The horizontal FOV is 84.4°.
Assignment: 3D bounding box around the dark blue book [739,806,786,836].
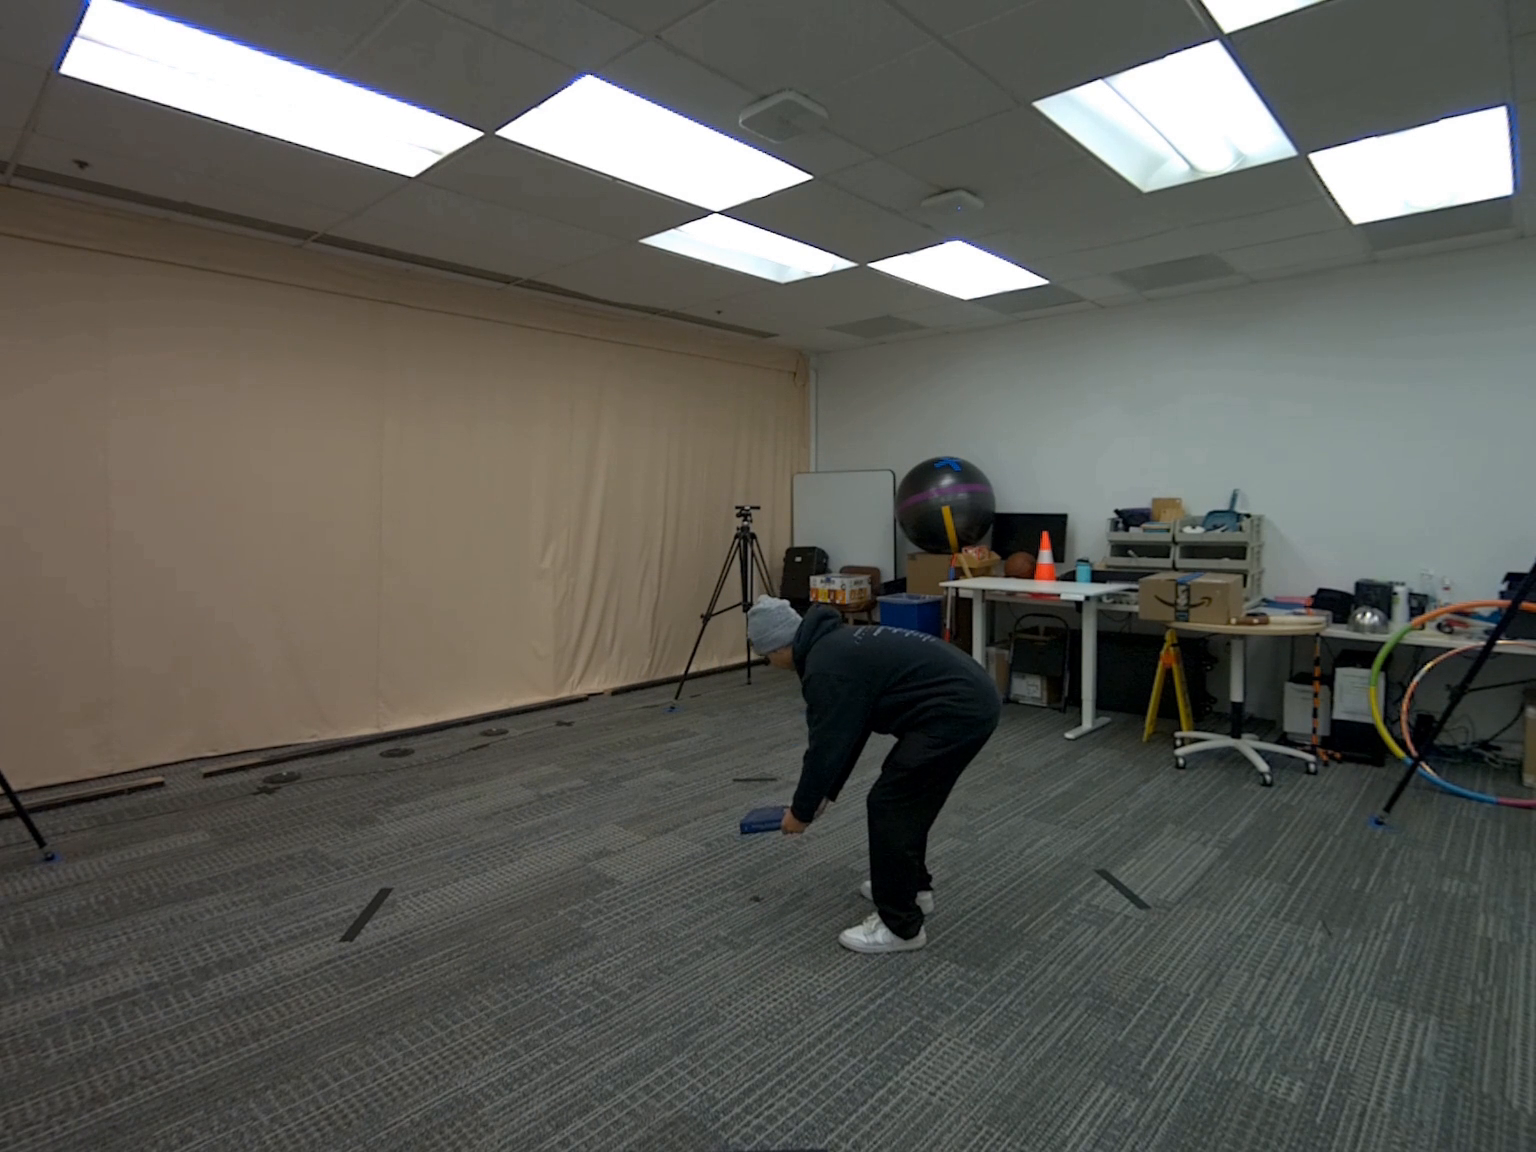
[{"bbox_3d":[0.043,0.855,2.943,0.249,0.045,0.161,-10,0,16],"label":"dark blue book"}]
